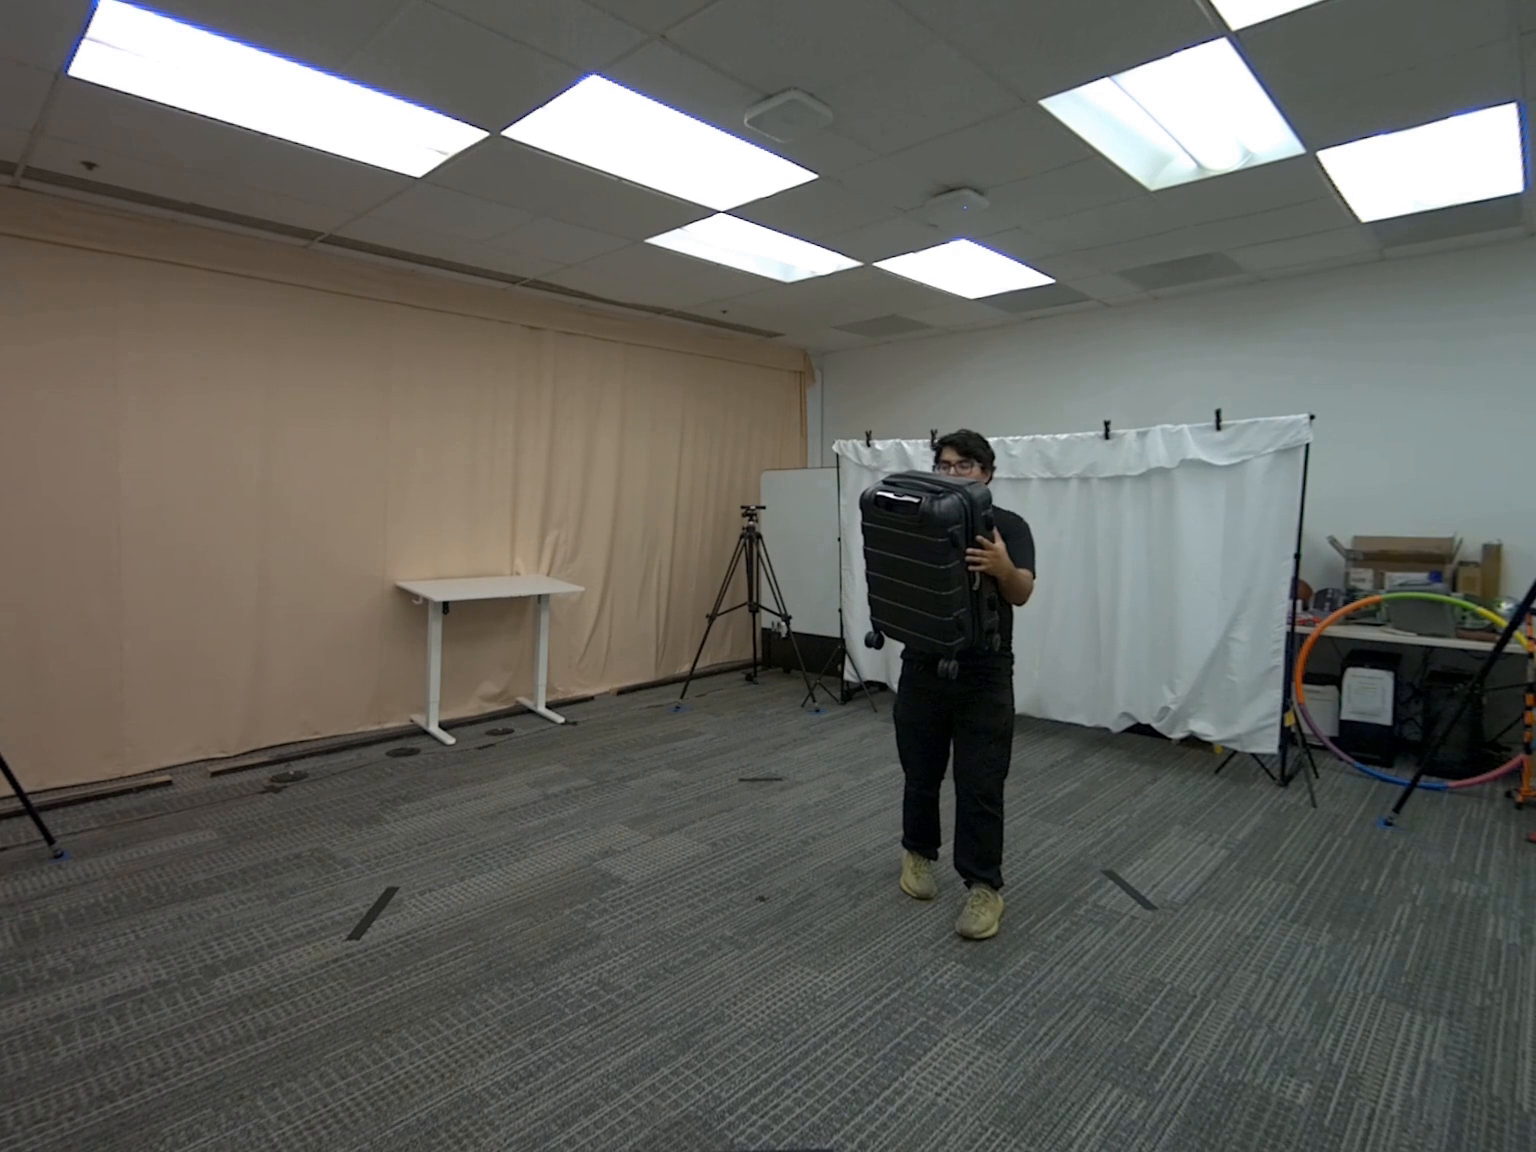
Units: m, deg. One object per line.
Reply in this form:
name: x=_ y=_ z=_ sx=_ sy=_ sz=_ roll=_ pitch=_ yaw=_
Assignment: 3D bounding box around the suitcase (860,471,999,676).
suitcase: x=0.491 y=-0.038 z=2.545 sx=0.243 sy=0.541 sz=0.389 roll=-22 pitch=23 yaw=-32
